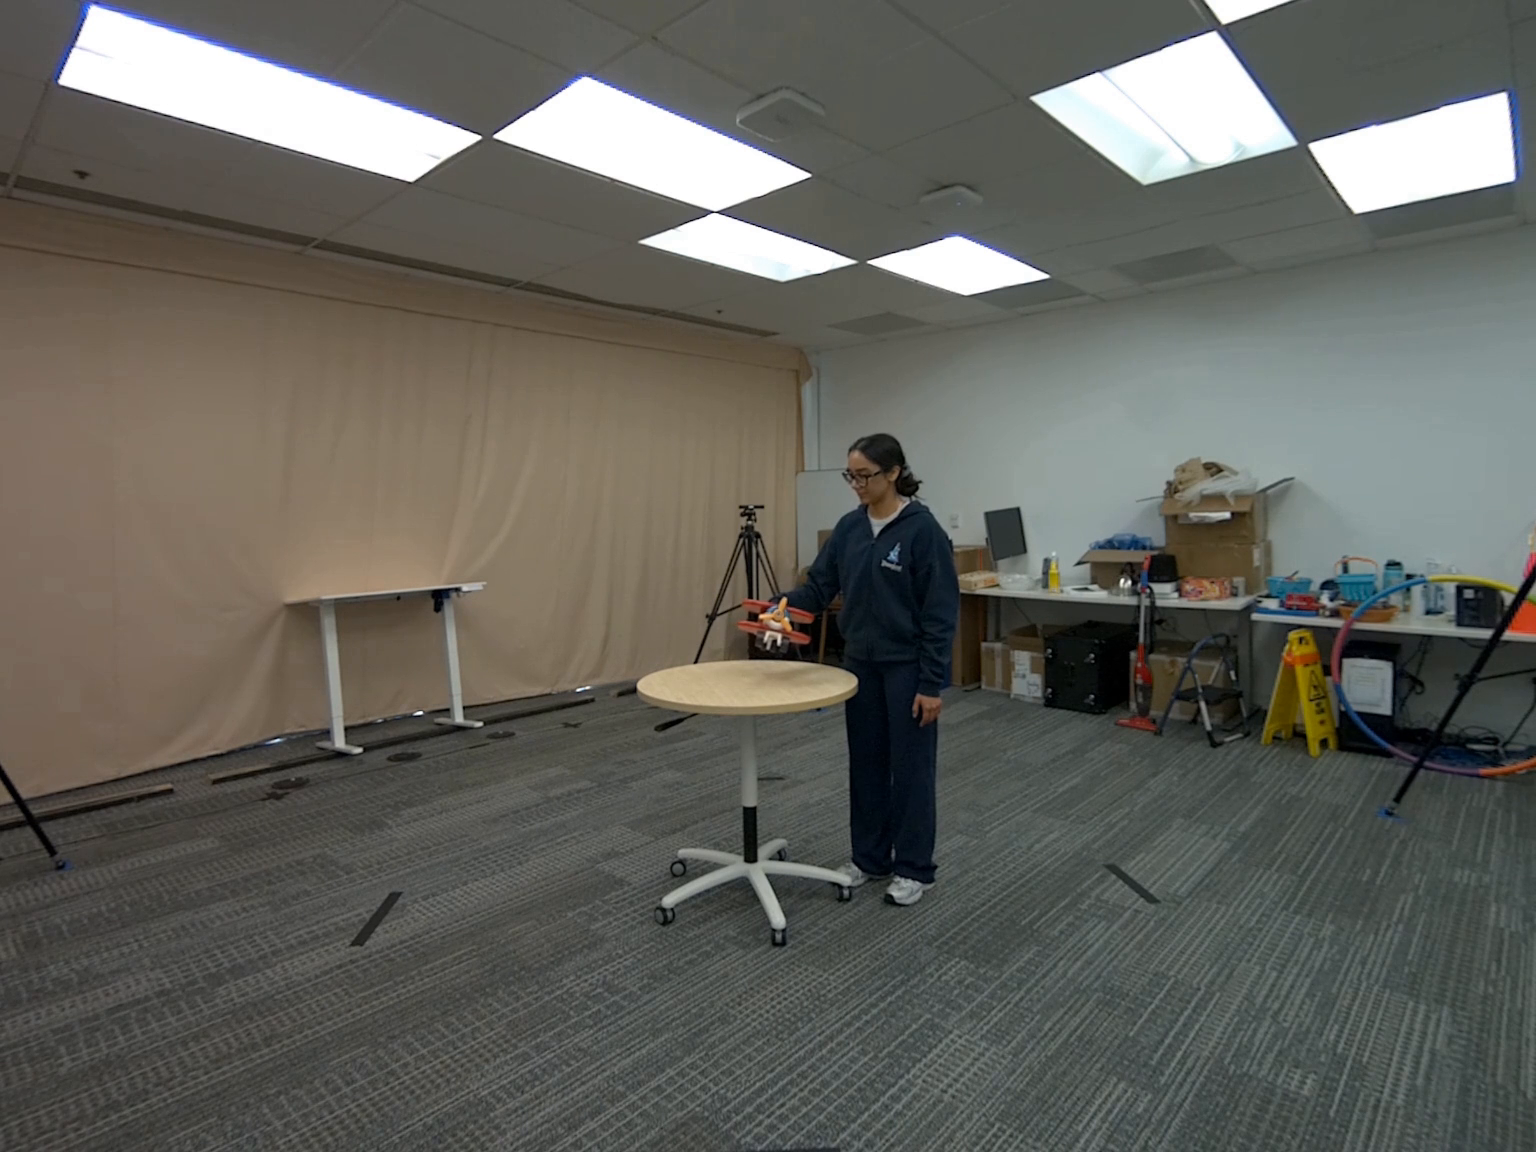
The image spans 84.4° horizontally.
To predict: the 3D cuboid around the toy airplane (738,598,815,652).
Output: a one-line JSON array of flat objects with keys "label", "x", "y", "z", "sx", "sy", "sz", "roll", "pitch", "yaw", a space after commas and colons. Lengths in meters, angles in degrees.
[{"label": "toy airplane", "x": 0.010, "y": 0.185, "z": 2.956, "sx": 0.245, "sy": 0.157, "sz": 0.265, "roll": 17, "pitch": -9, "yaw": -24}]
